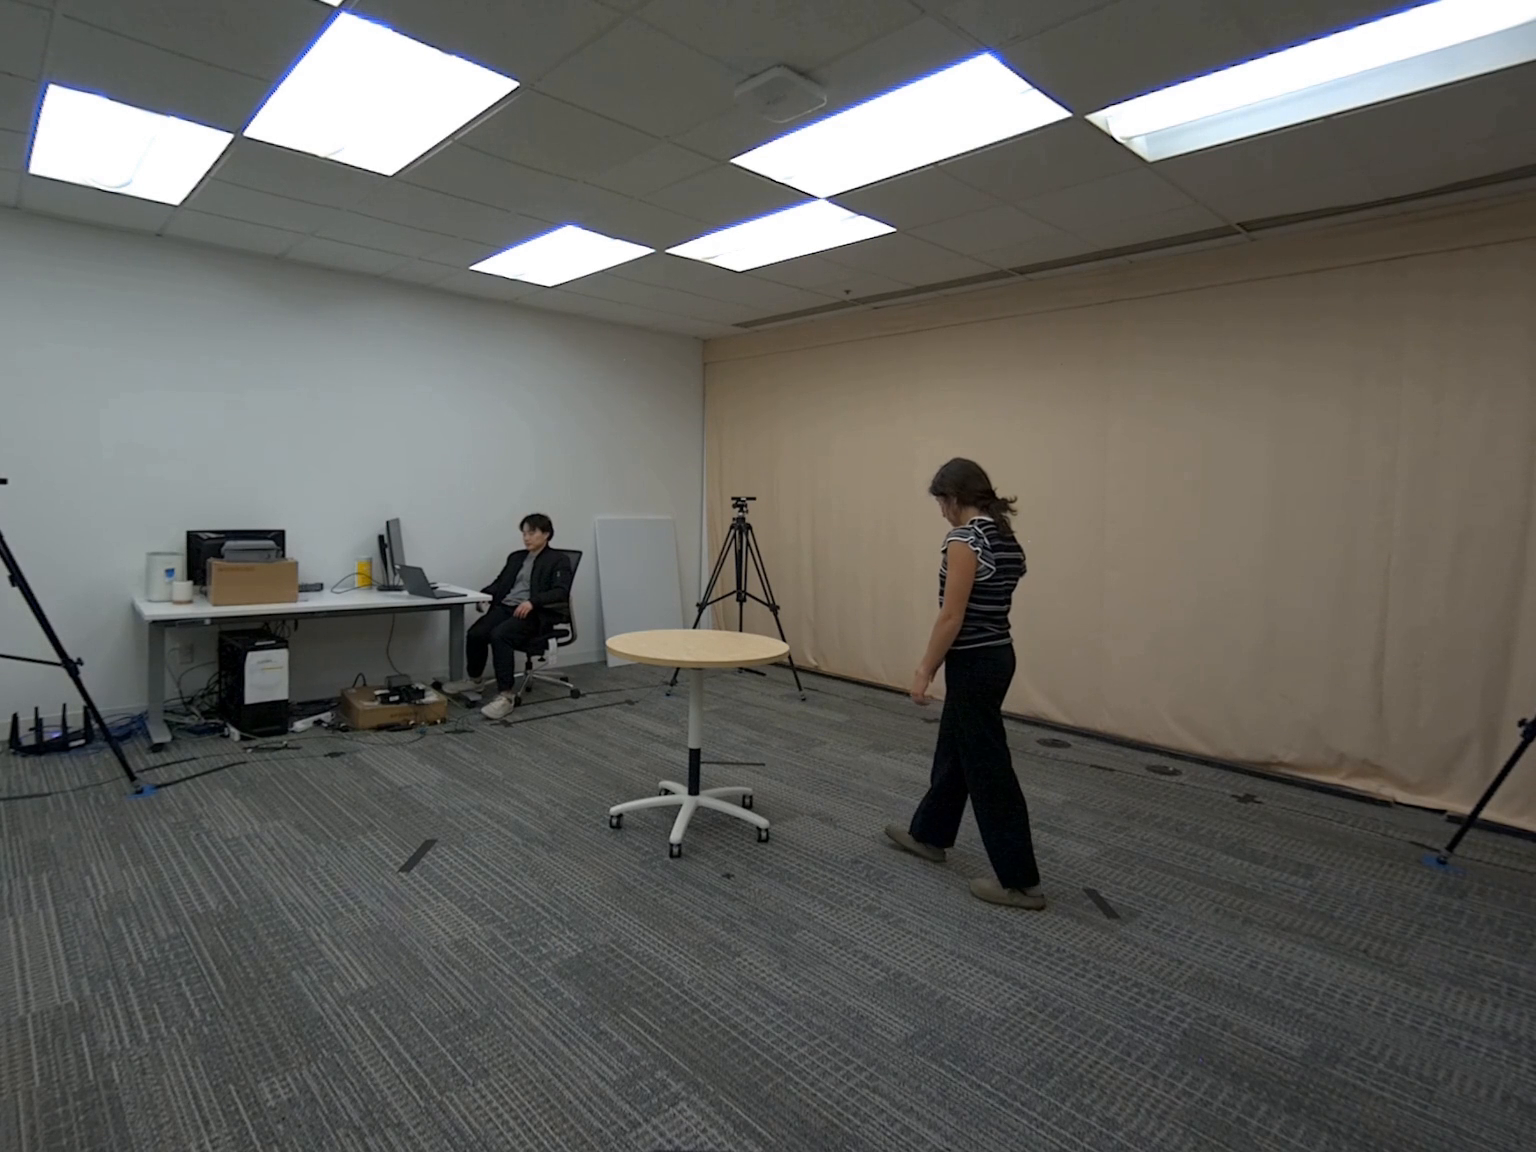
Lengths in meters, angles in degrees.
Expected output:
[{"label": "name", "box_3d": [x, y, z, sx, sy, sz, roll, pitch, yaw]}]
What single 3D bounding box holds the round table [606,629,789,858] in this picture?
[{"label": "round table", "box_3d": [-0.319, 0.676, 3.552, 0.763, 0.792, 0.766, 2, 4, -1]}]
